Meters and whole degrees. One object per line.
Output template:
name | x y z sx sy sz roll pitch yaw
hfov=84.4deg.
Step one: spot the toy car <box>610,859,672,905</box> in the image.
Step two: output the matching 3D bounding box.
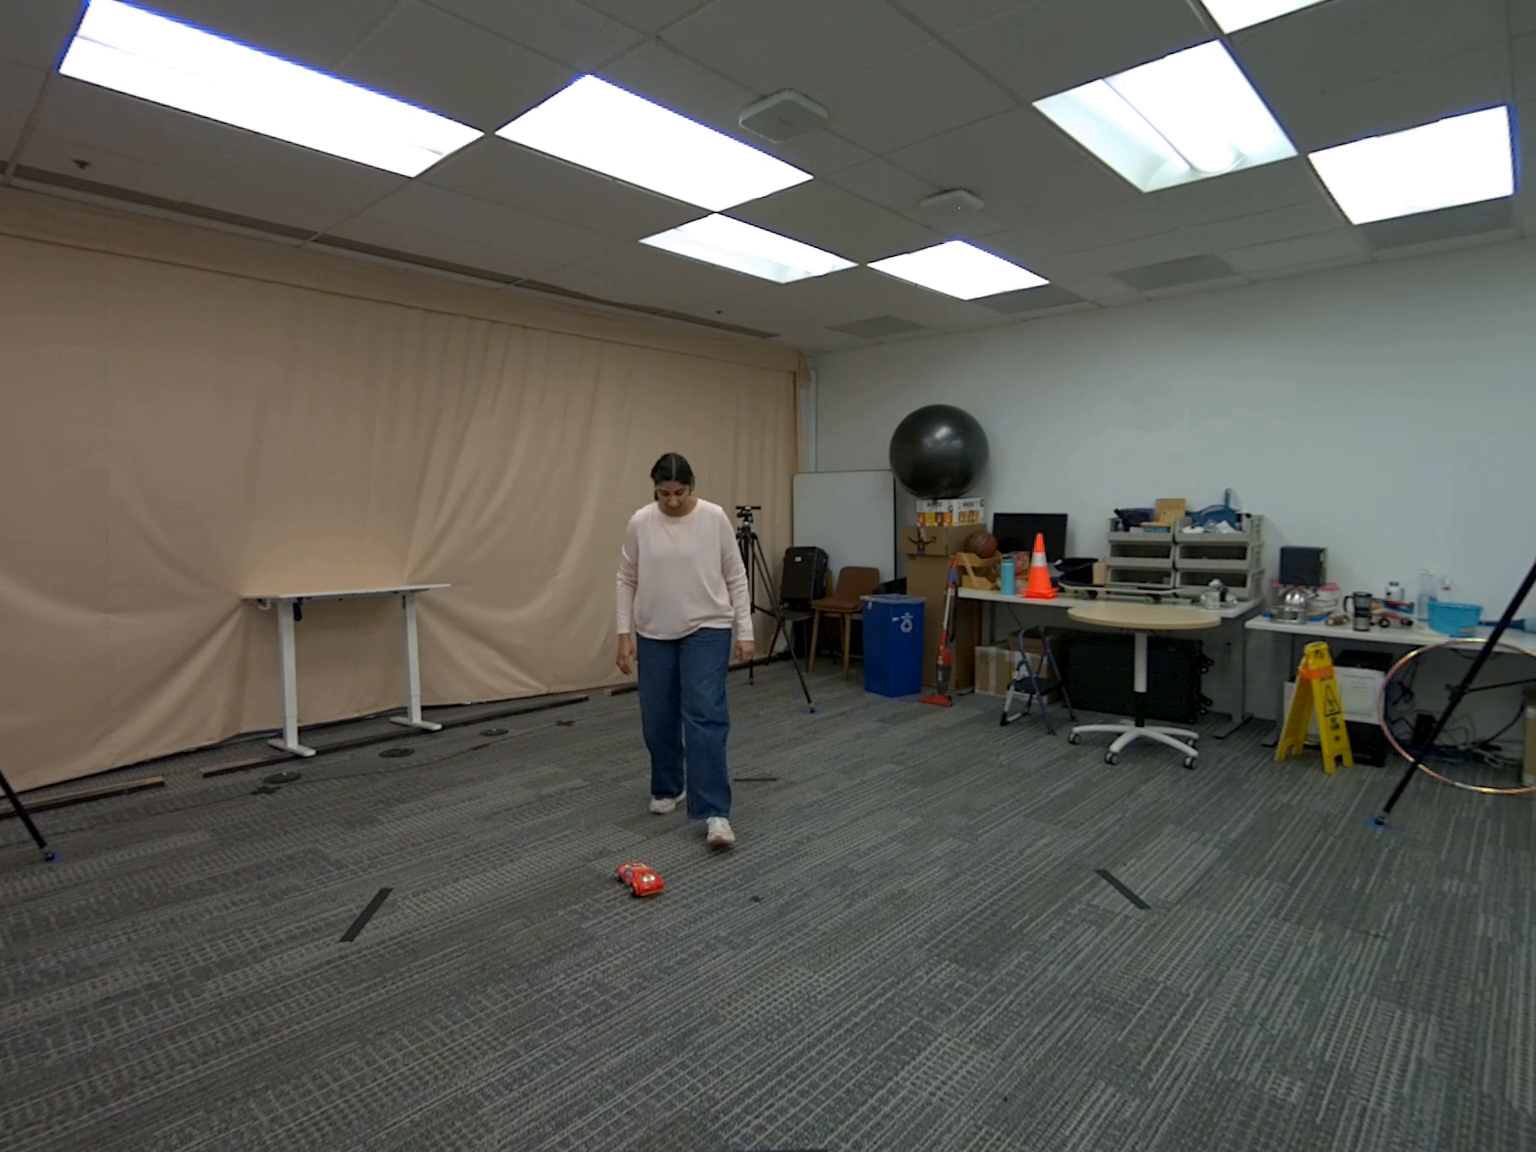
toy car | -0.467 1.105 3.075 0.127 0.083 0.260 -2 -5 -30
